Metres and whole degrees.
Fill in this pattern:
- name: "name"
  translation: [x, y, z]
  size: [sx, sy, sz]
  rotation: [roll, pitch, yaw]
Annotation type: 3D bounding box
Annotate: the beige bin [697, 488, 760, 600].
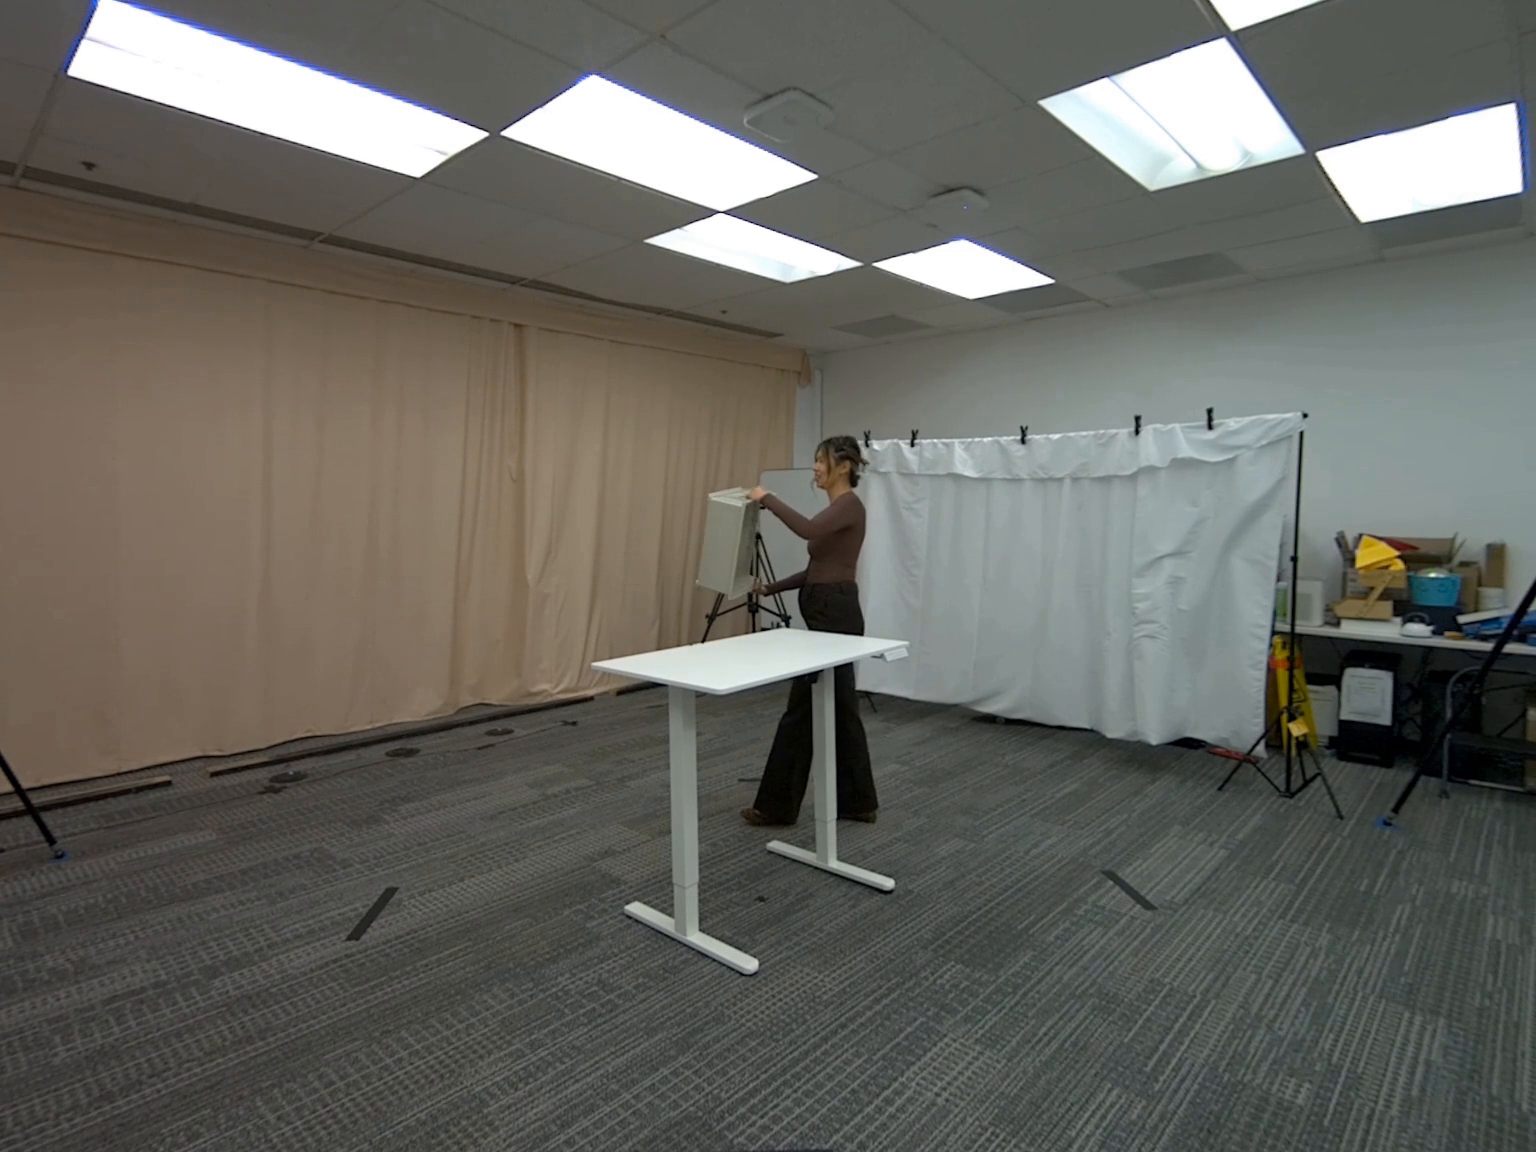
- name: "beige bin"
  translation: [-0.126, -0.158, 3.676]
  size: [0.194, 0.419, 0.370]
  rotation: [15, 17, 23]
